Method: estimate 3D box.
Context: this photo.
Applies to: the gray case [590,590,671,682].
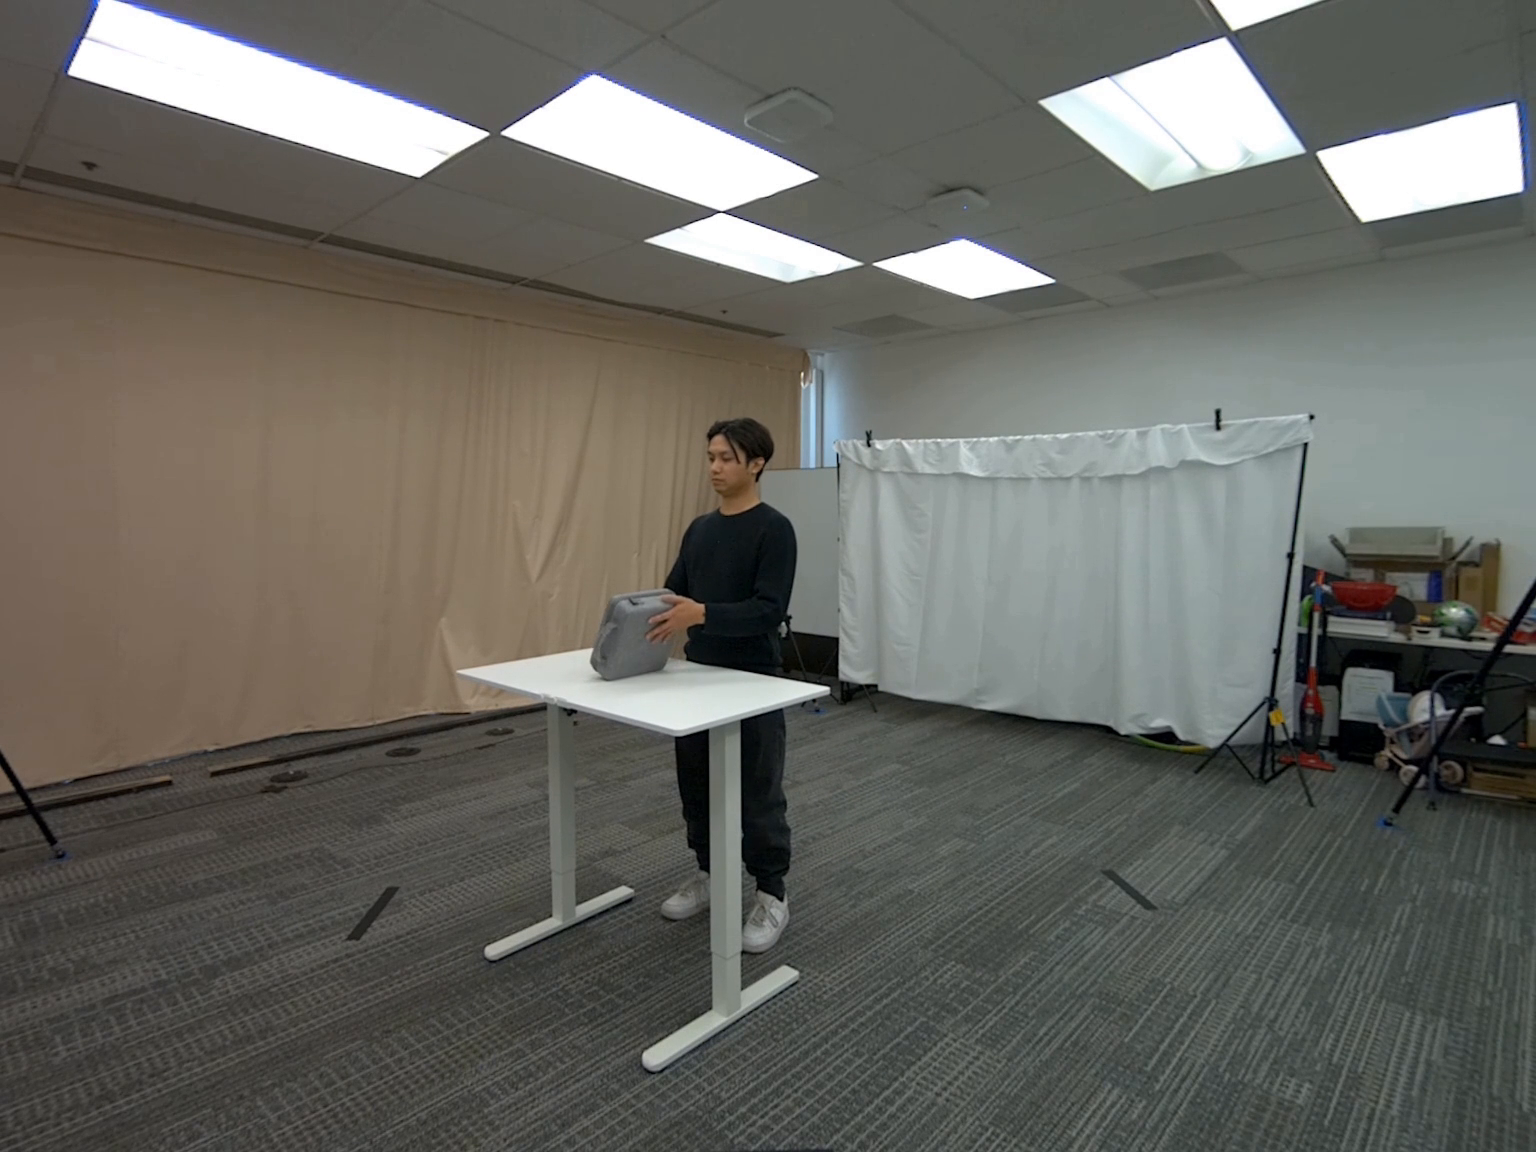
[{"bbox_3d":[-0.398,0.175,2.516,0.108,0.256,0.253,35,25,31],"label":"gray case"}]
